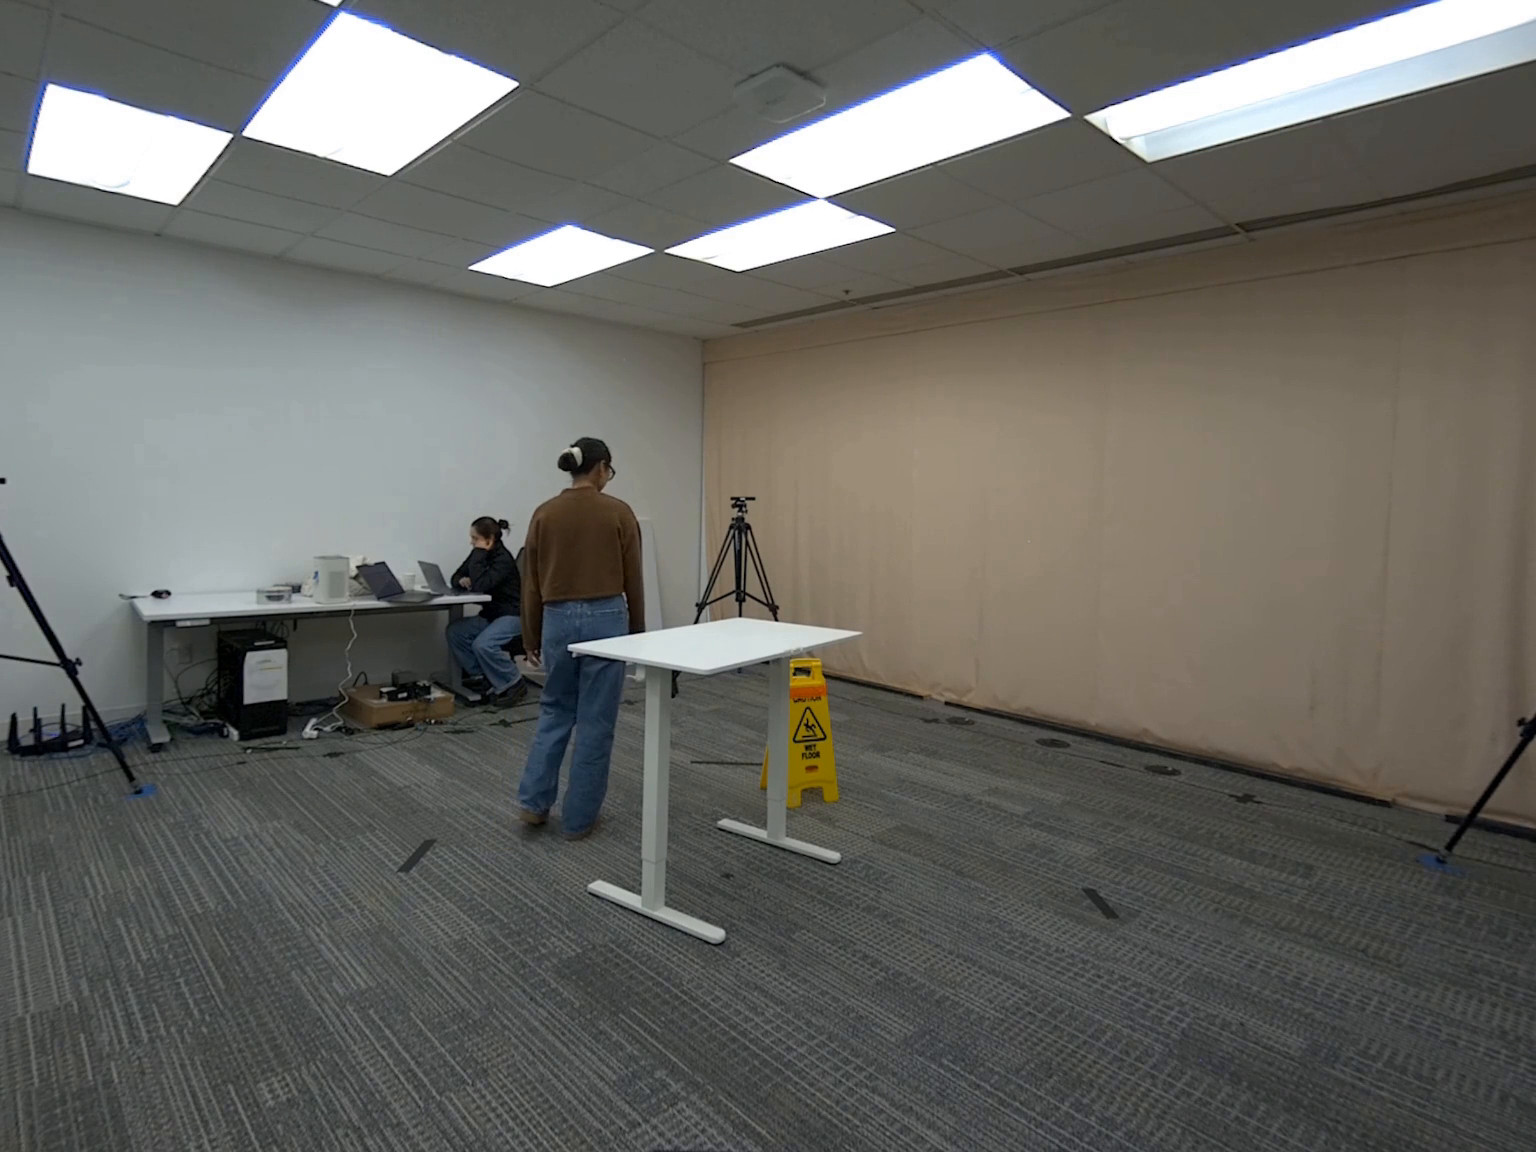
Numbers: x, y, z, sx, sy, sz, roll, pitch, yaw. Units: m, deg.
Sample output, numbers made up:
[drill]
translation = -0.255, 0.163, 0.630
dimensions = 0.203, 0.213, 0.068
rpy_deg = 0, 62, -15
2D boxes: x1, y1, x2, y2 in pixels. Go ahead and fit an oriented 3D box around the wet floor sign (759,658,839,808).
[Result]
[wet floor sign]
translation = 0.143, 0.717, 3.990
dimensions = 0.277, 0.645, 0.295
rpy_deg = 0, 3, -26
